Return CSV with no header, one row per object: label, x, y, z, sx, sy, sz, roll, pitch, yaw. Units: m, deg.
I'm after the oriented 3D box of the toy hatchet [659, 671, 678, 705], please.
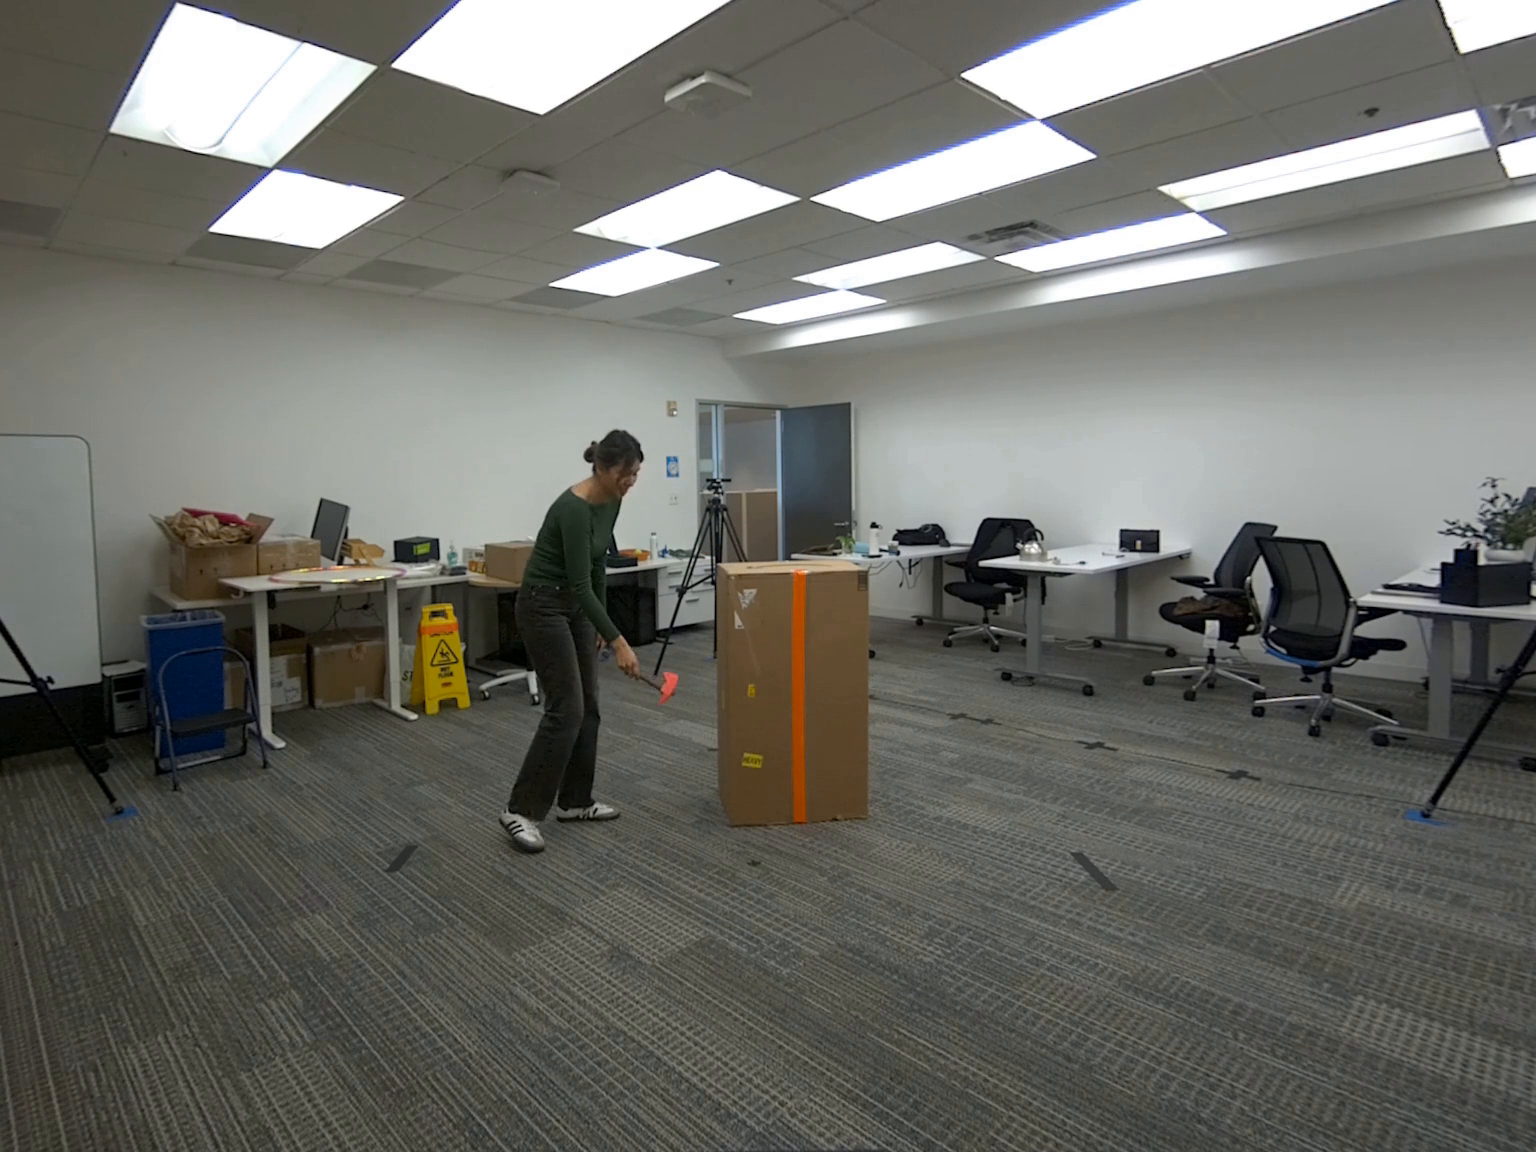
toy hatchet,-0.441,0.353,3.265,0.130,0.278,0.029,-38,-25,-21
